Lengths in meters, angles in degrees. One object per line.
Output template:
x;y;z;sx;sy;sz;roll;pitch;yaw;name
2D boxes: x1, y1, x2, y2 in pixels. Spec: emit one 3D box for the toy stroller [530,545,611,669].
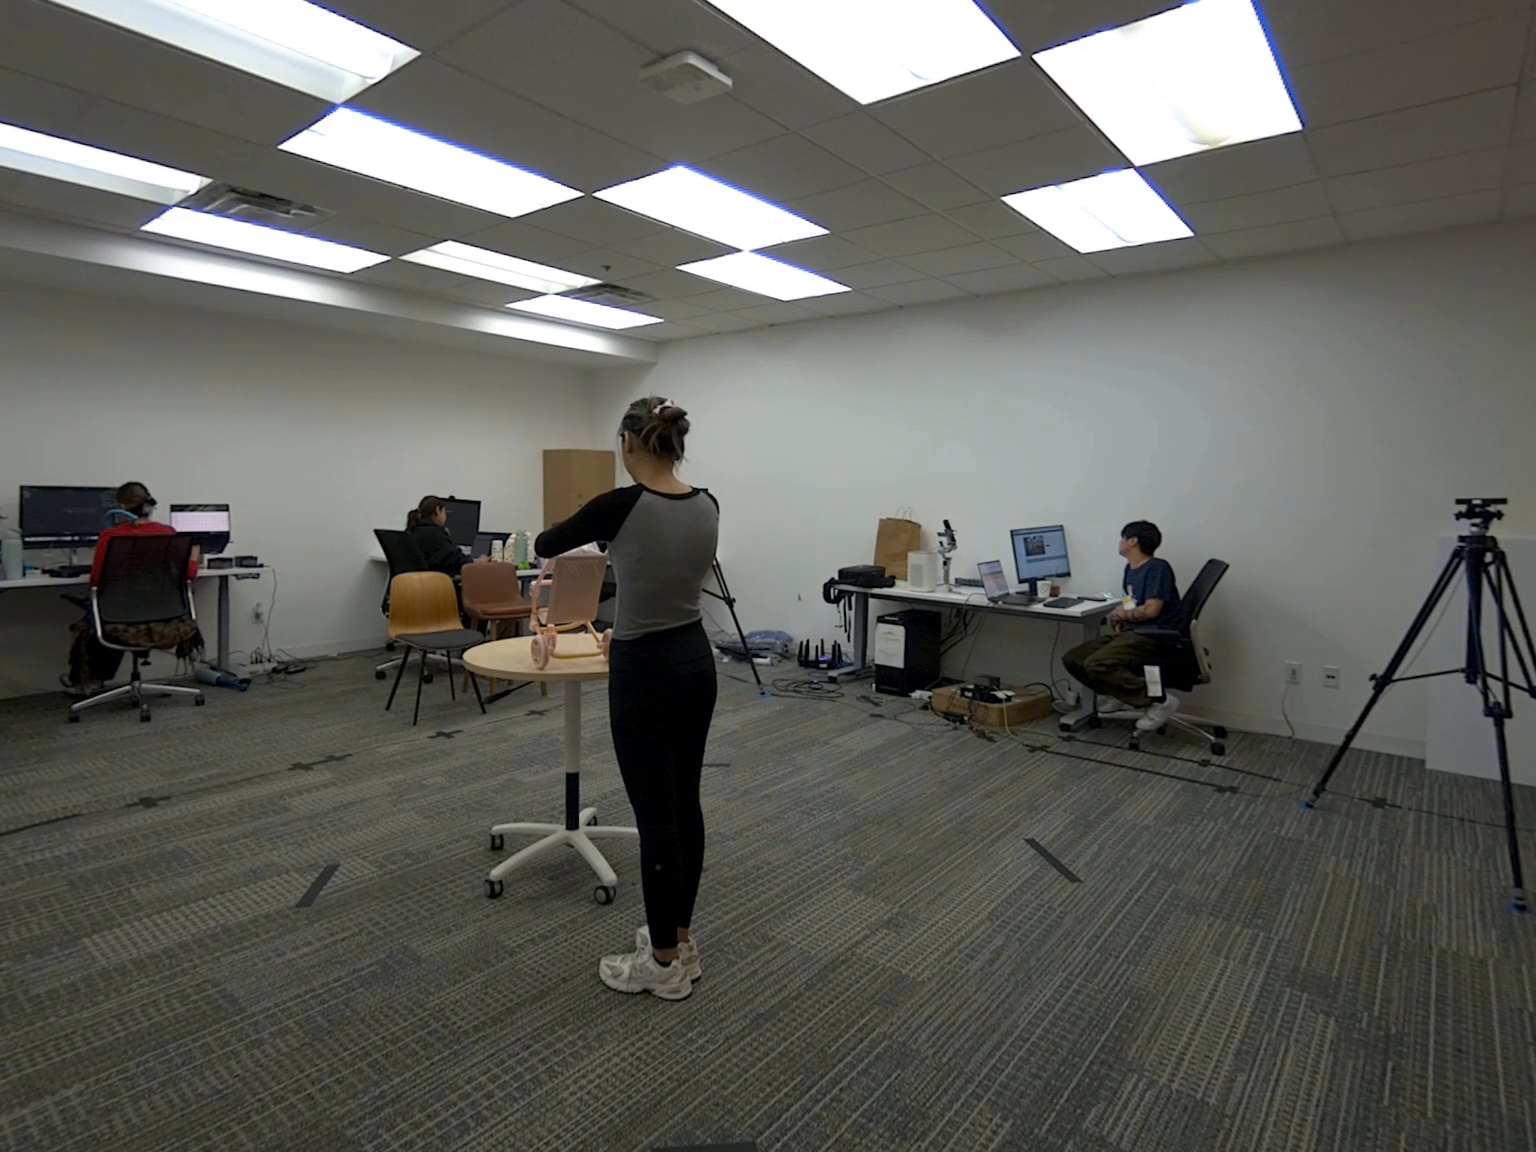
-0.683;0.062;2.884;0.274;0.529;0.354;0;16;-29;toy stroller
